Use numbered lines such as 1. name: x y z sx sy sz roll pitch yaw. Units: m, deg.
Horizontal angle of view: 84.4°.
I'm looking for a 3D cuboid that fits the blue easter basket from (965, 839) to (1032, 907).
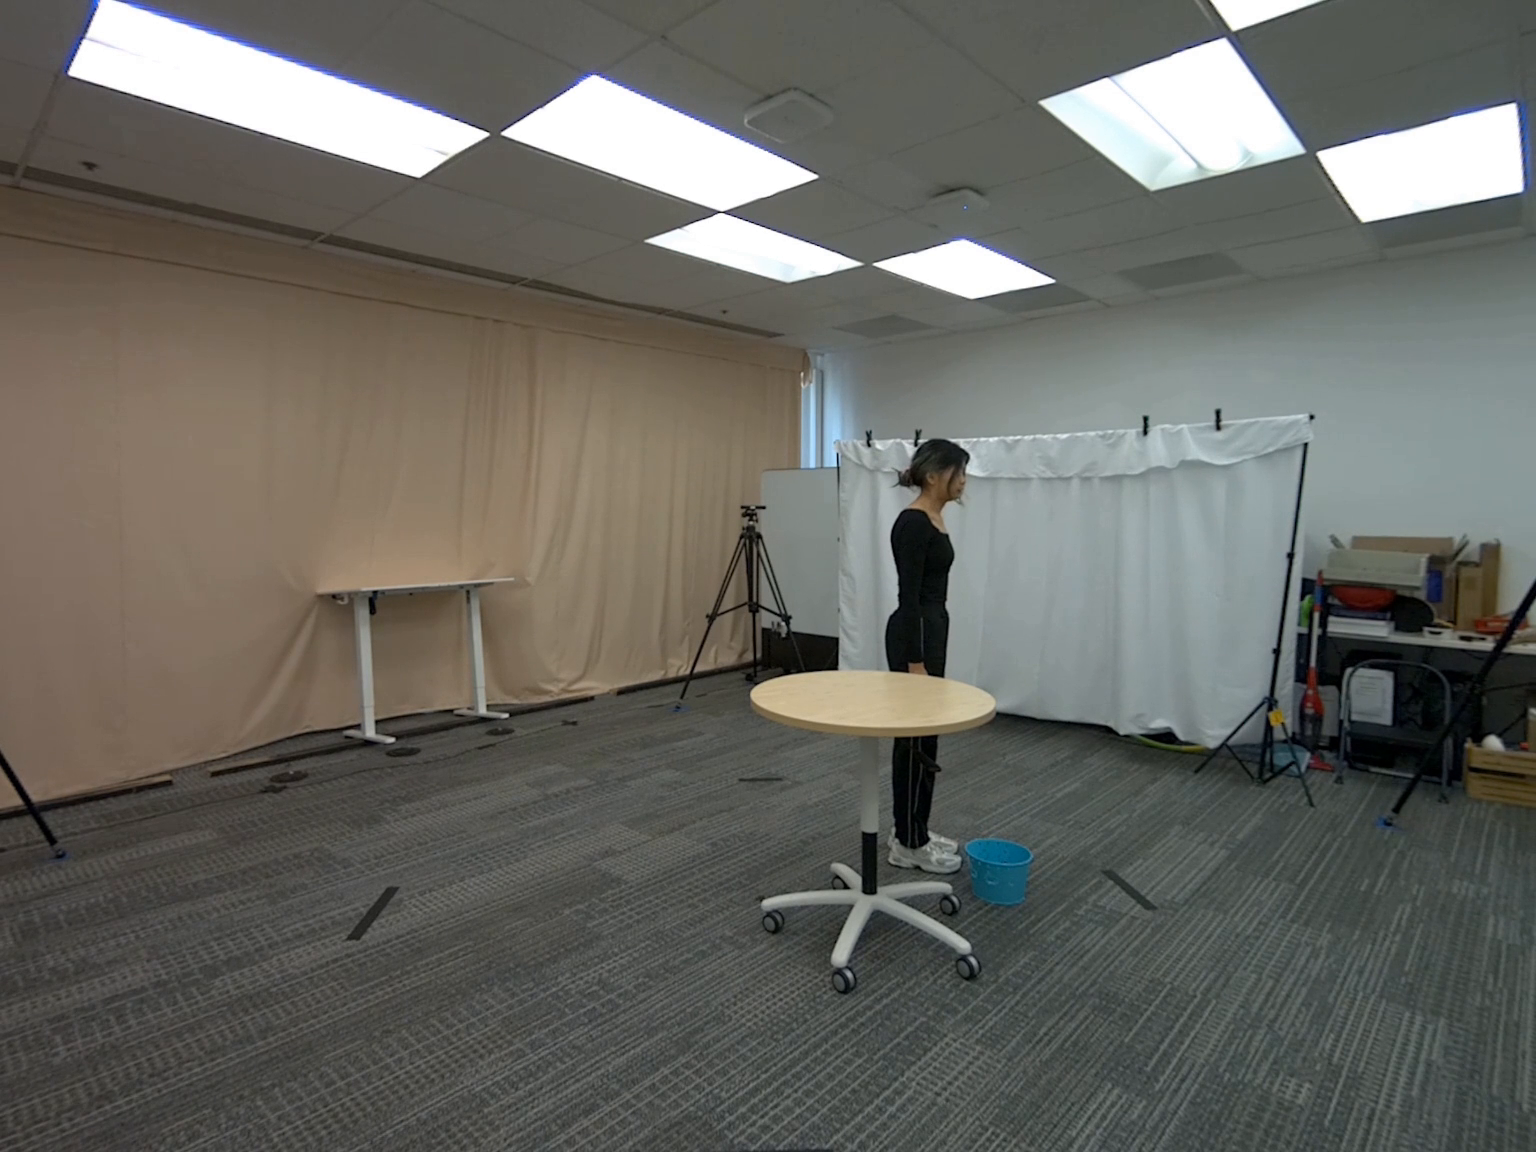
1. blue easter basket: 0.833 1.060 3.021 0.243 0.155 0.244 0 4 -2
